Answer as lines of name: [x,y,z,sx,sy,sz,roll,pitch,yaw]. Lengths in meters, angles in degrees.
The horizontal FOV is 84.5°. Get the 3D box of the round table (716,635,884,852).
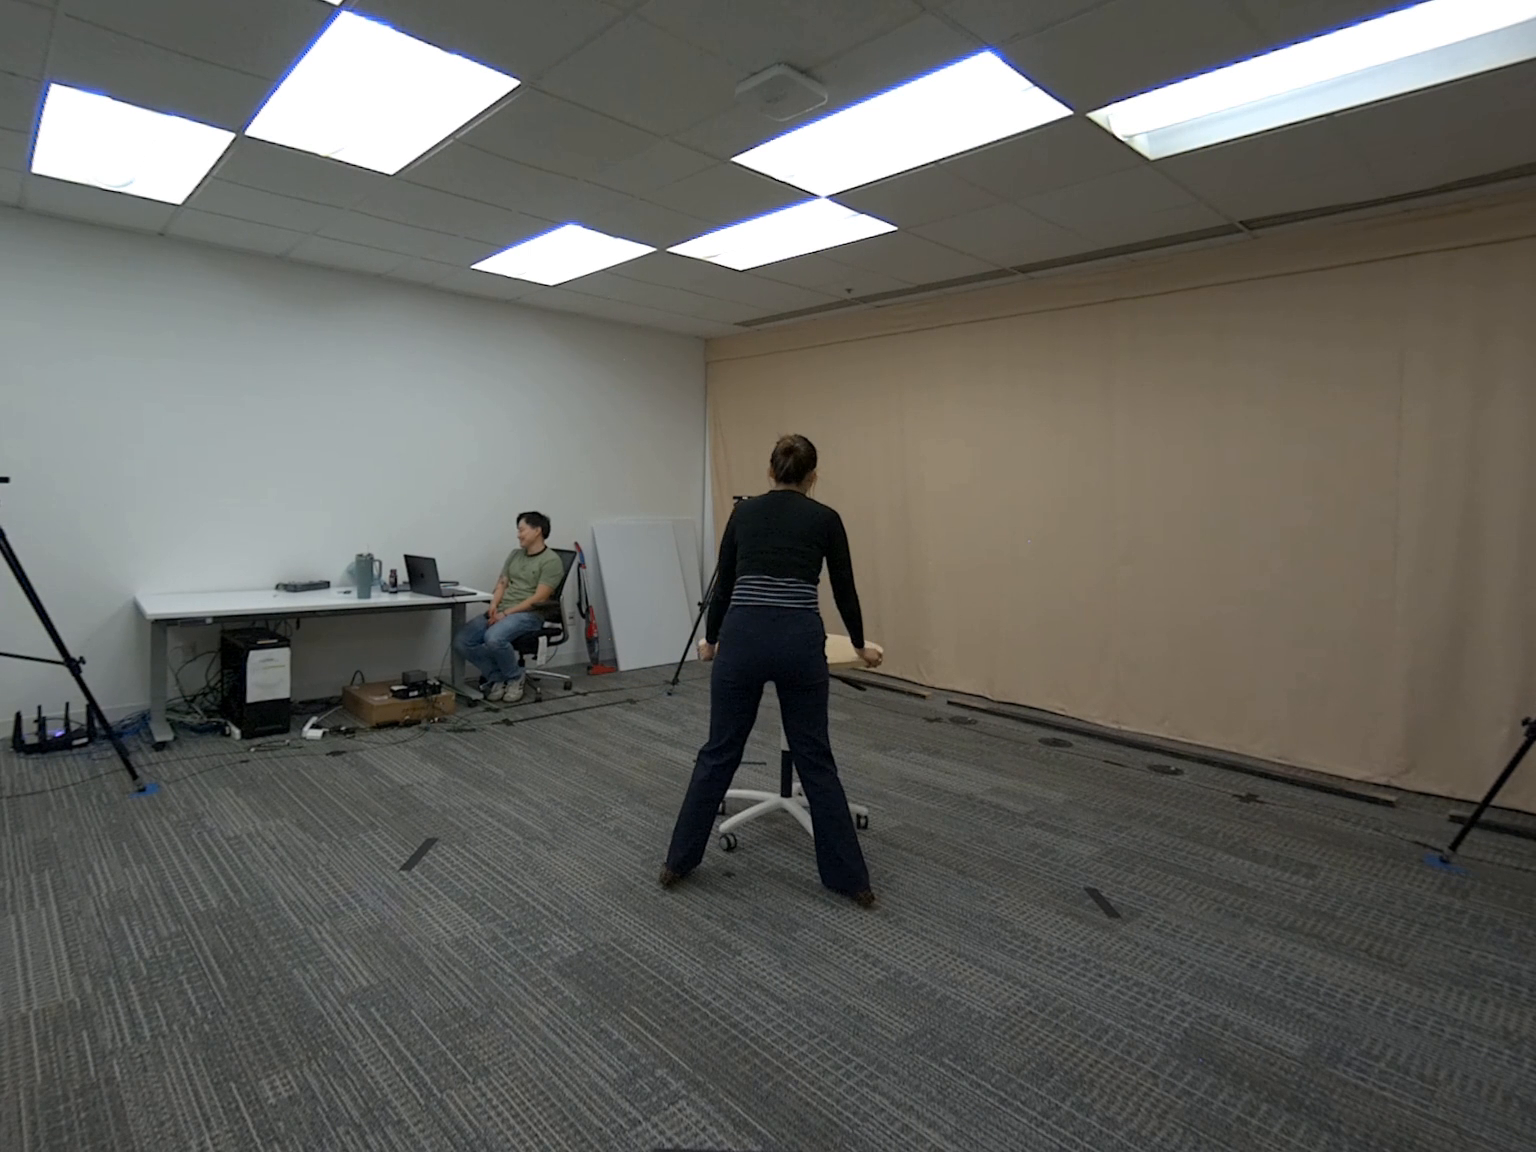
round table: [0.070,0.682,3.528,0.763,0.792,0.766,2,4,-1]
